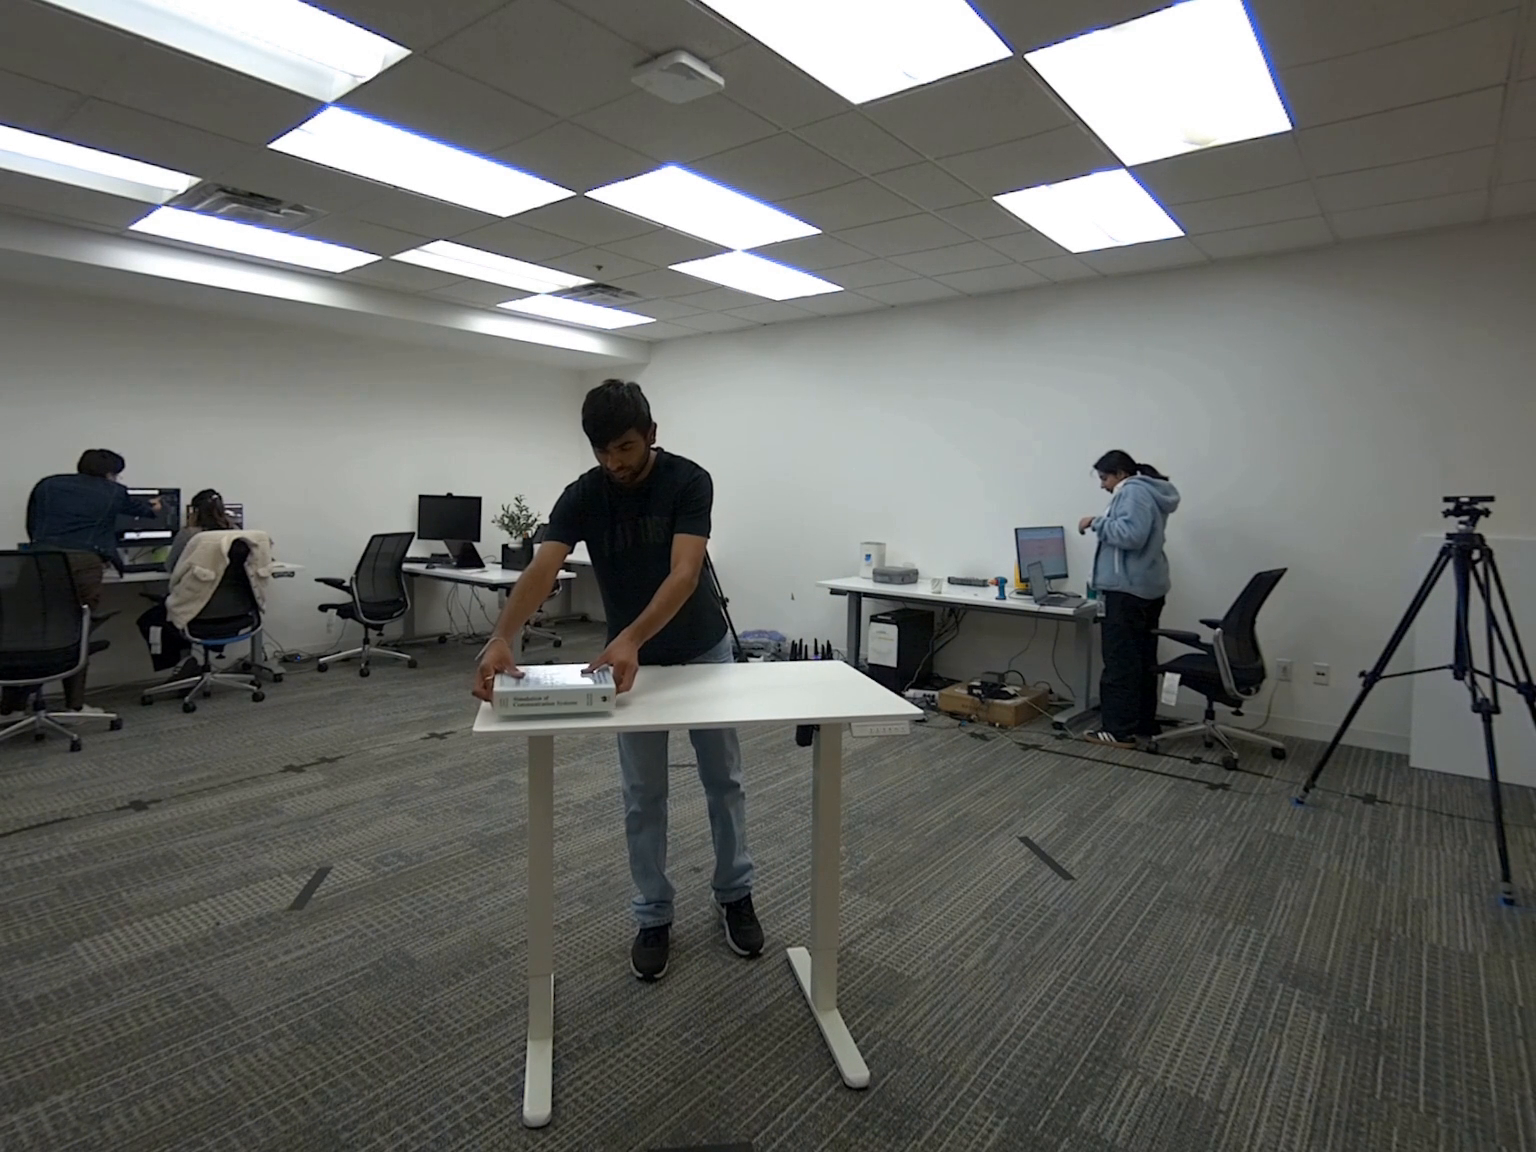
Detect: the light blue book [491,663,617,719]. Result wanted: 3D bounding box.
[{"bbox_3d":[-0.491,0.255,1.928,0.258,0.058,0.195,-1,10,-12],"label":"light blue book"}]
